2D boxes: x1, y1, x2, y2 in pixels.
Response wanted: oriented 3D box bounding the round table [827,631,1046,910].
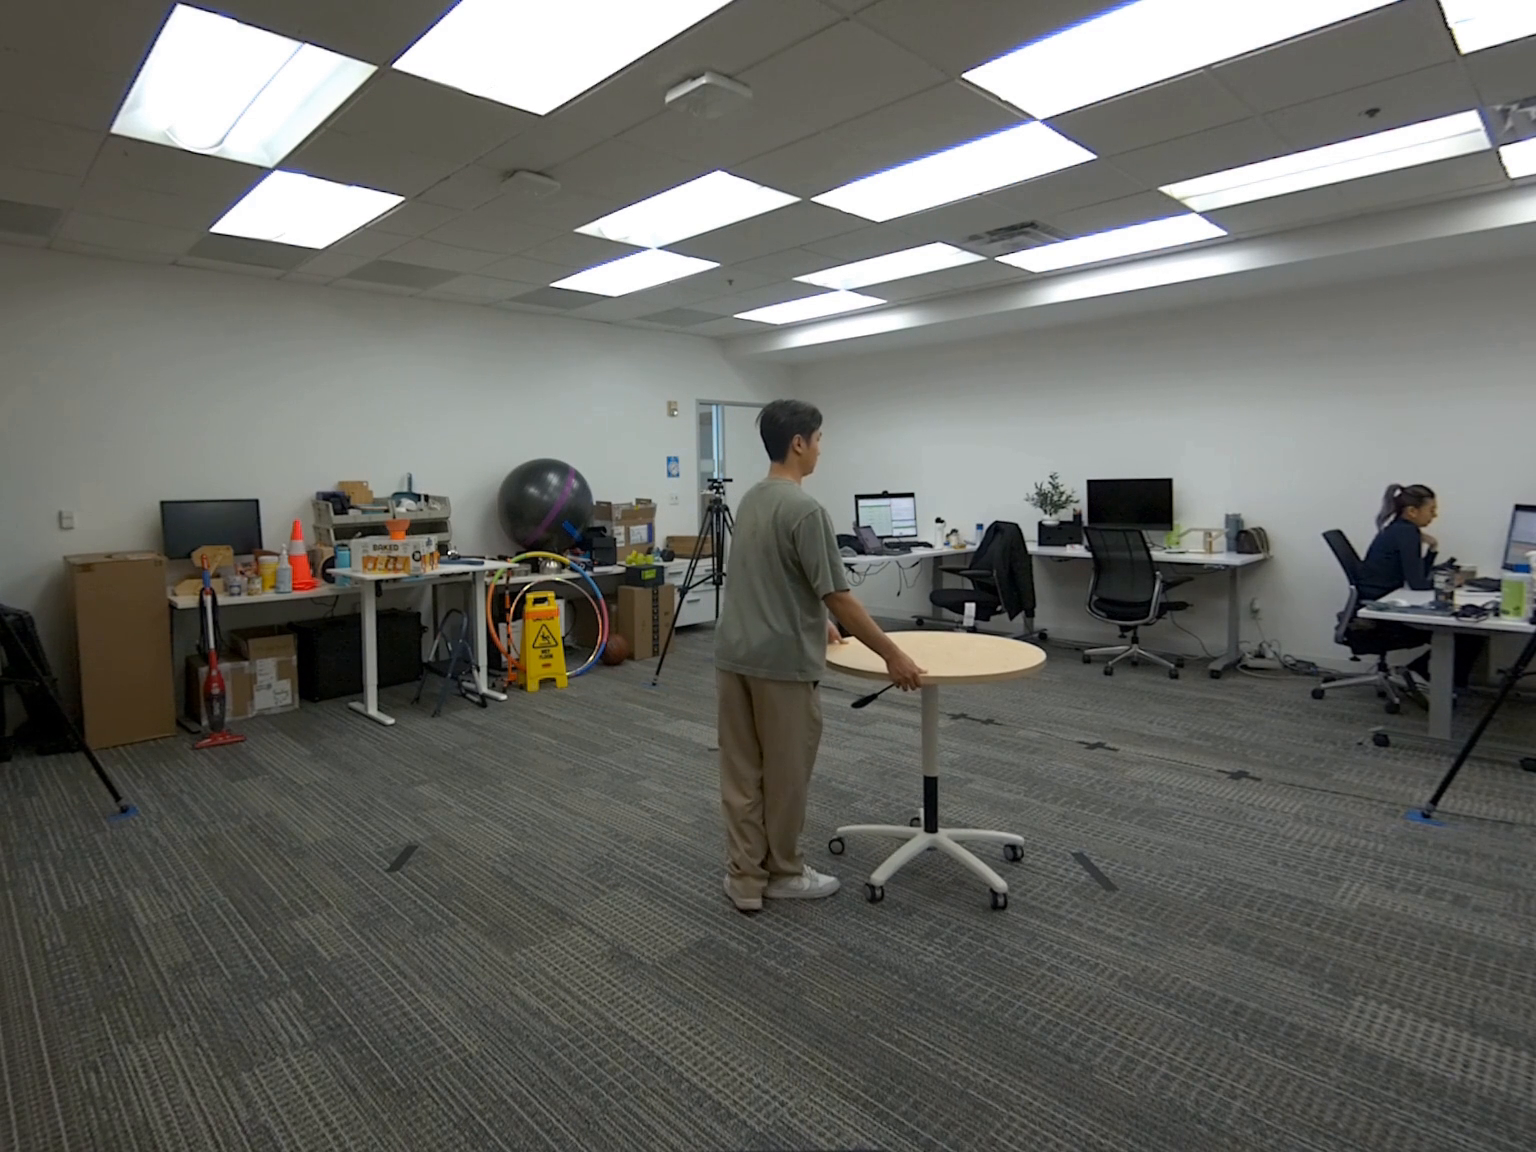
[{"bbox_3d":[0.584,0.650,3.016,0.784,0.783,0.789,-2,5,-2],"label":"round table"}]
